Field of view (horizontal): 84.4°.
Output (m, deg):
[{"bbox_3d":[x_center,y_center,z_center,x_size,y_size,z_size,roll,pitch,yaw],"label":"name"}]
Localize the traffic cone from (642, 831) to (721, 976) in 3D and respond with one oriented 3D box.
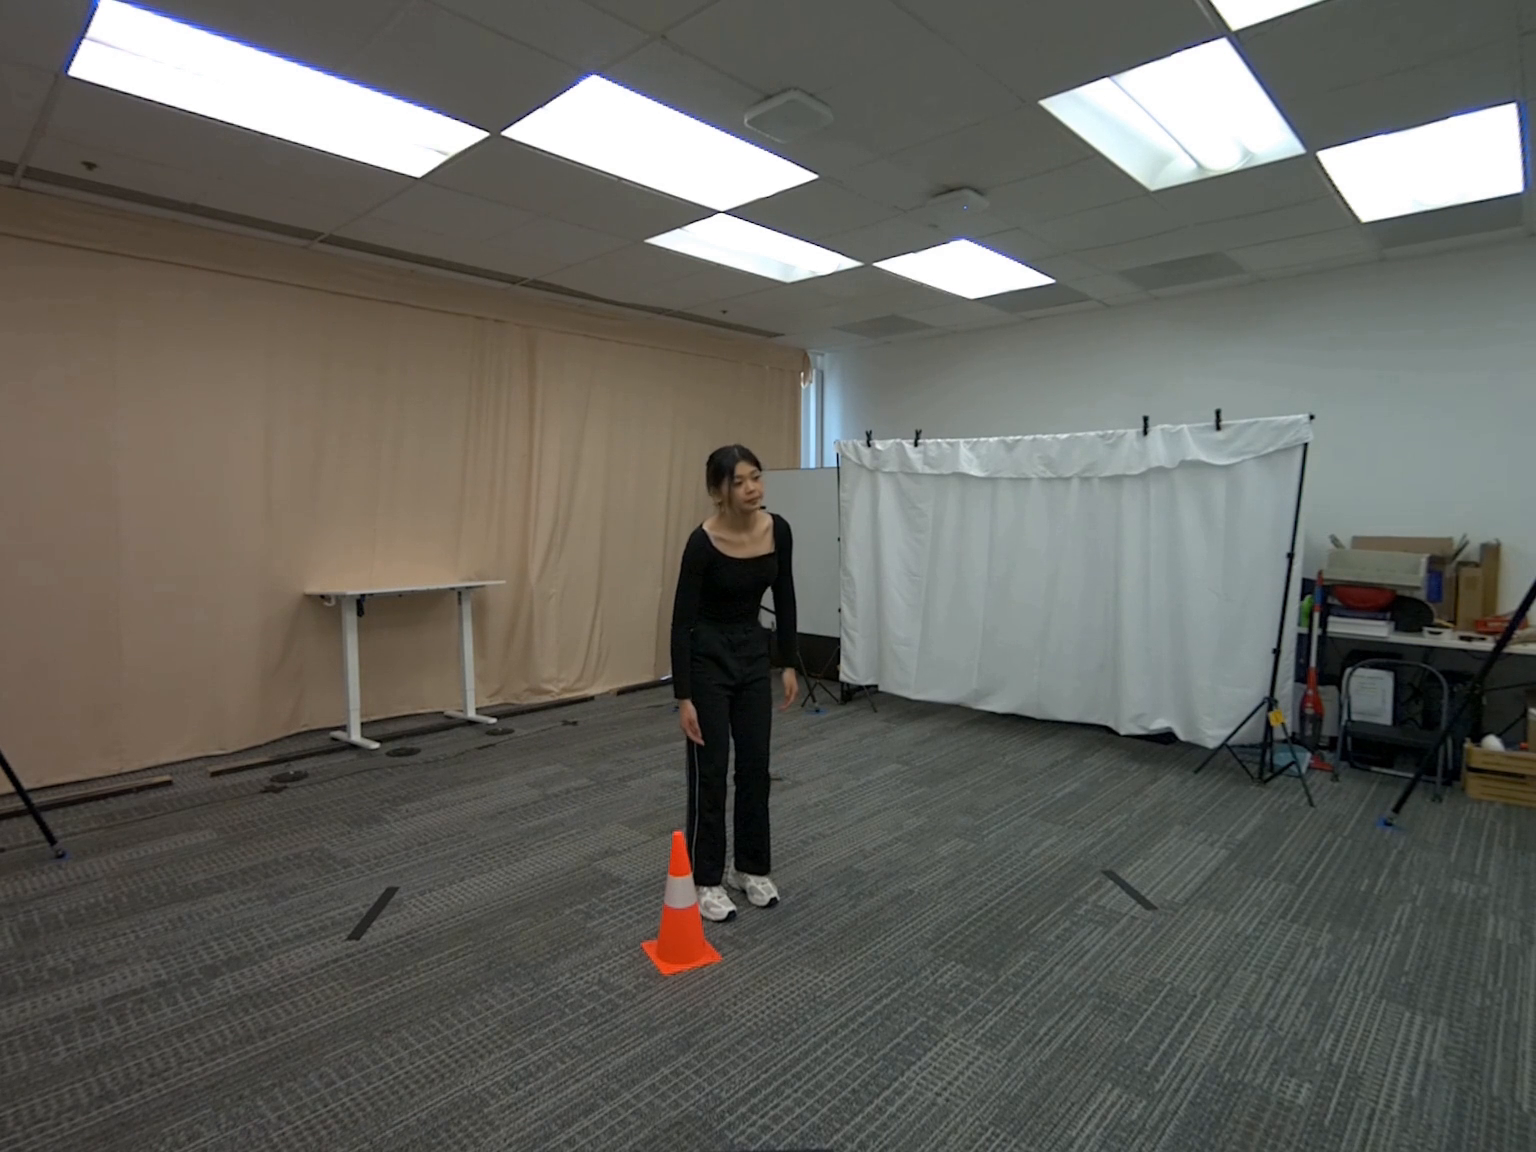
[{"bbox_3d":[-0.272,0.985,2.624,0.198,0.383,0.210,-1,3,-28],"label":"traffic cone"}]
